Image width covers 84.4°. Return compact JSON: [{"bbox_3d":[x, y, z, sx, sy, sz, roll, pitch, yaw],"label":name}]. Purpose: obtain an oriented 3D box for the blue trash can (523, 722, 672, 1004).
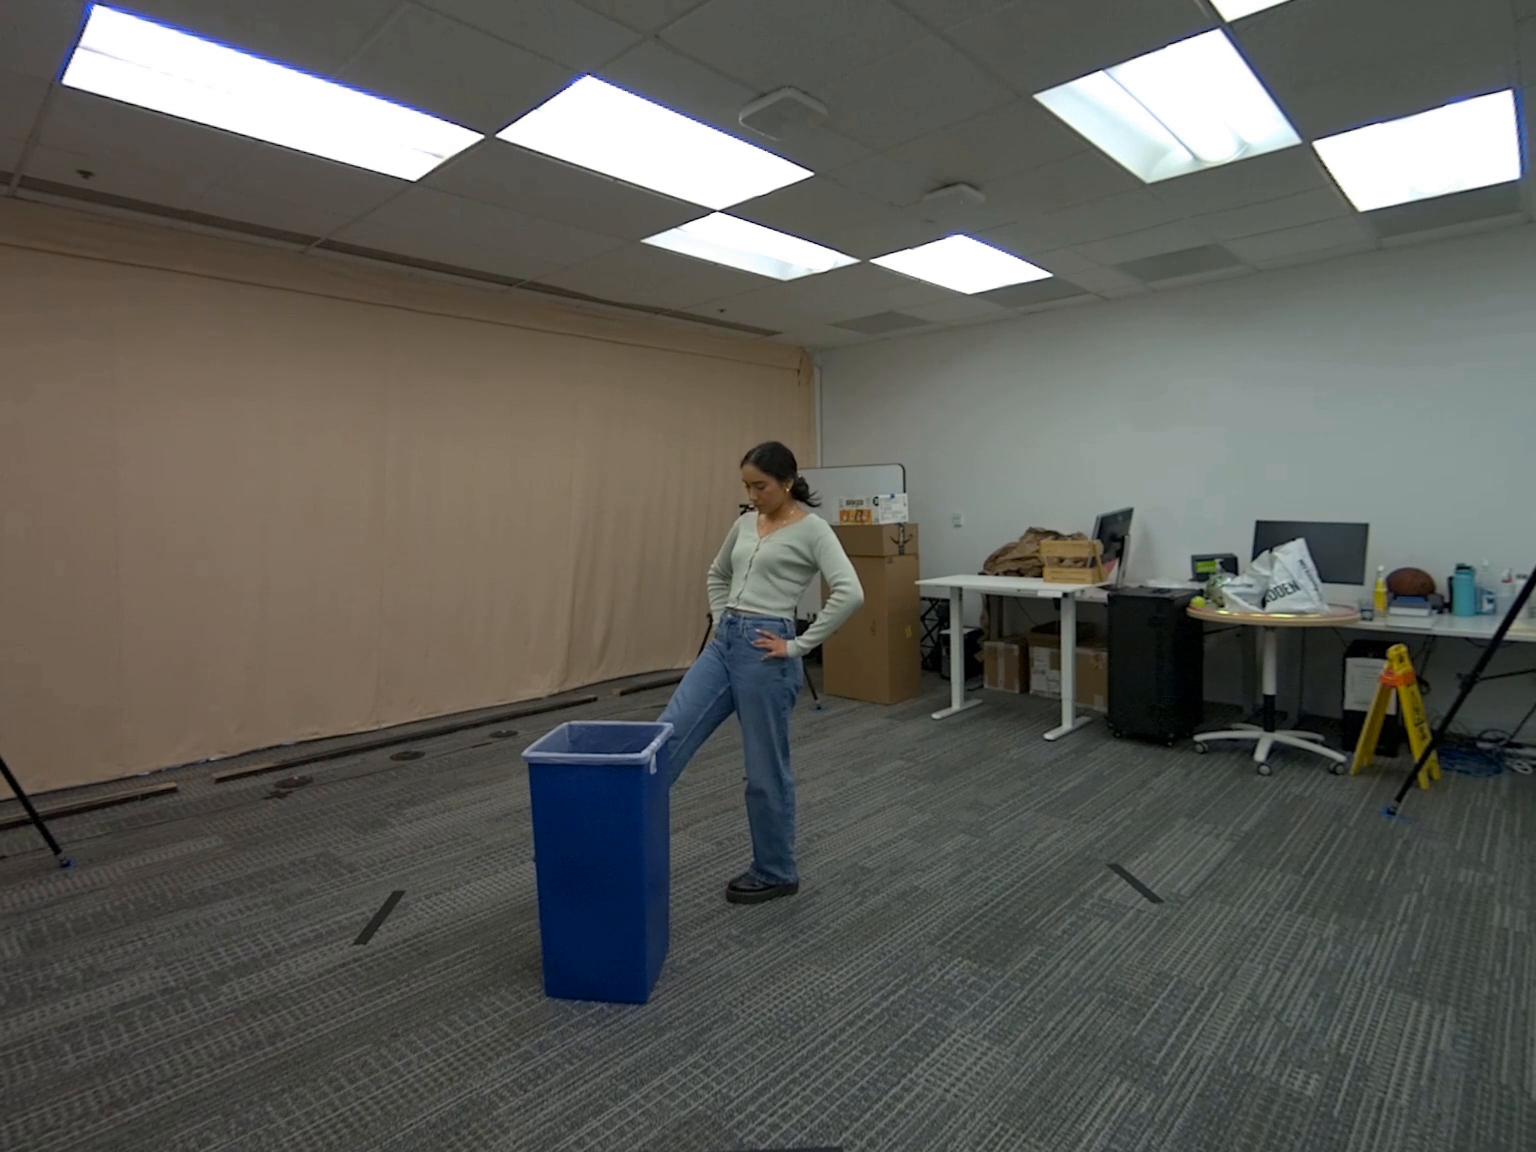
[{"bbox_3d":[-0.482,0.834,2.508,0.381,0.712,0.371,-1,3,8],"label":"blue trash can"}]
